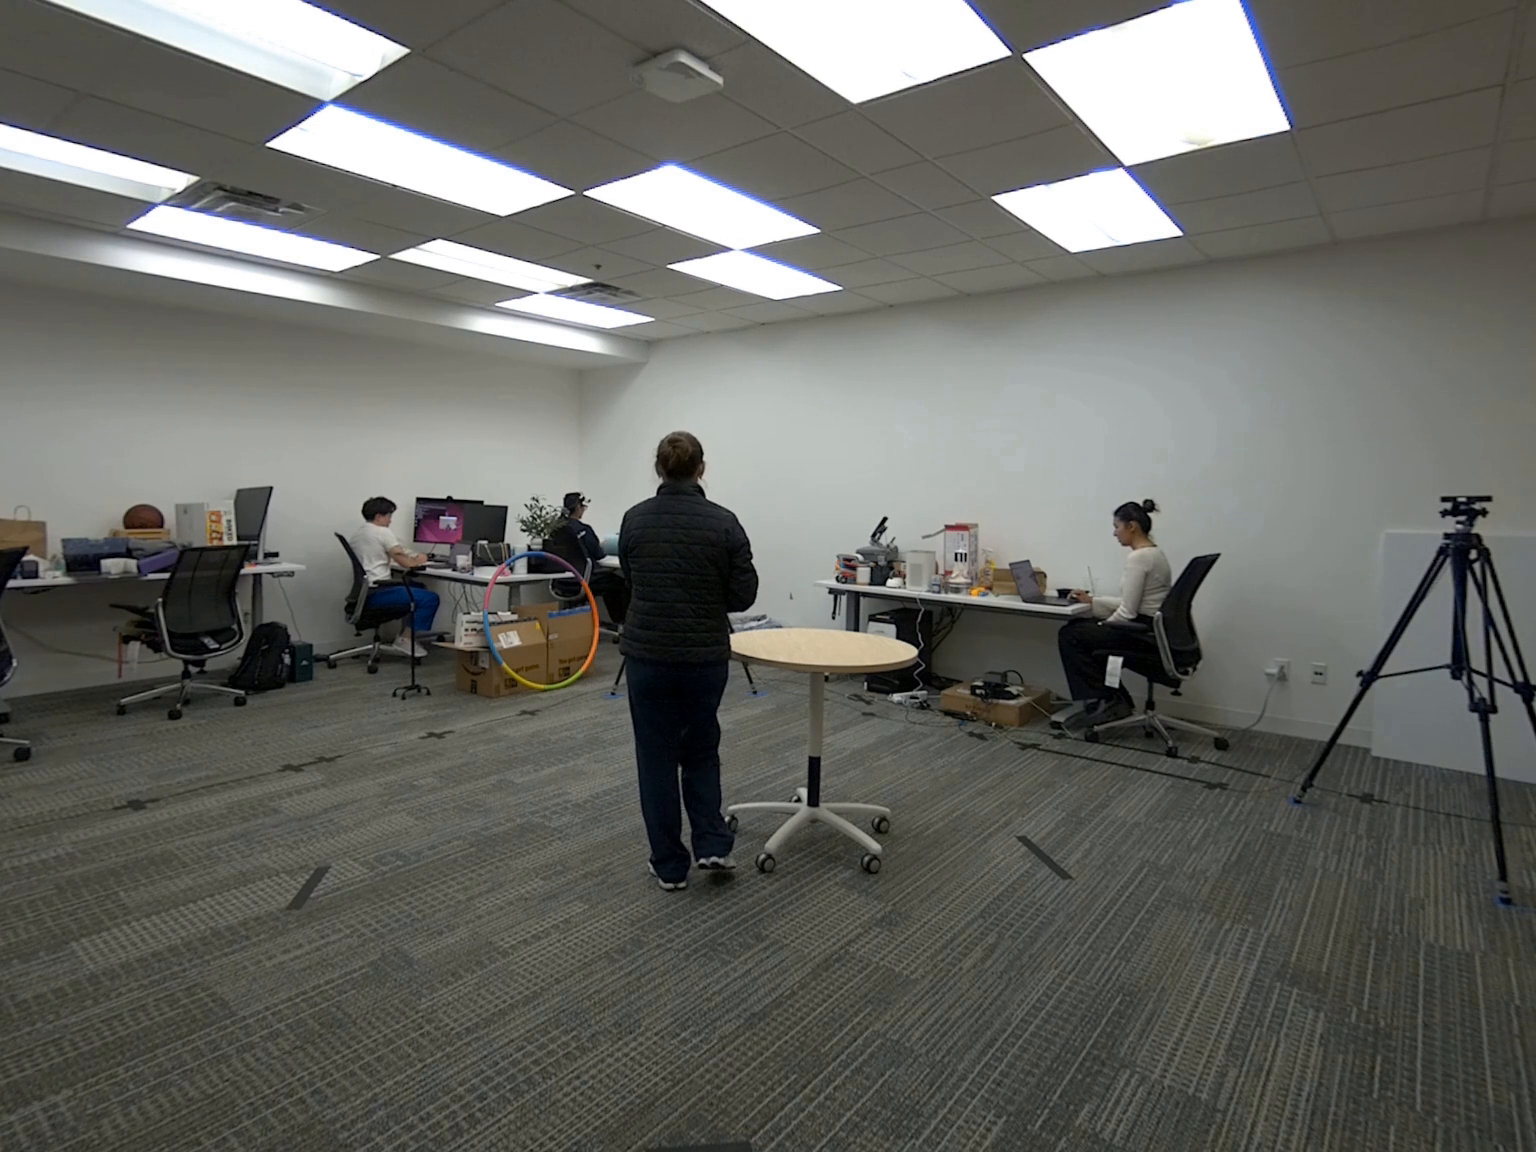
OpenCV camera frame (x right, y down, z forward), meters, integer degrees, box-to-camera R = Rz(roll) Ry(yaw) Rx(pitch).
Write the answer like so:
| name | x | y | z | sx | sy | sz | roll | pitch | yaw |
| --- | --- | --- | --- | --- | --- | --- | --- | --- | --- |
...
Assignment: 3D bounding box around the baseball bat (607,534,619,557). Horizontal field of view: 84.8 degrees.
| name | x | y | z | sx | sy | sz | roll | pitch | yaw |
| --- | --- | --- | --- | --- | --- | --- | --- | --- | --- |
| baseball bat | -0.342 | -0.113 | 3.403 | 0.549 | 0.089 | 0.088 | 3 | 4 | 9 |
